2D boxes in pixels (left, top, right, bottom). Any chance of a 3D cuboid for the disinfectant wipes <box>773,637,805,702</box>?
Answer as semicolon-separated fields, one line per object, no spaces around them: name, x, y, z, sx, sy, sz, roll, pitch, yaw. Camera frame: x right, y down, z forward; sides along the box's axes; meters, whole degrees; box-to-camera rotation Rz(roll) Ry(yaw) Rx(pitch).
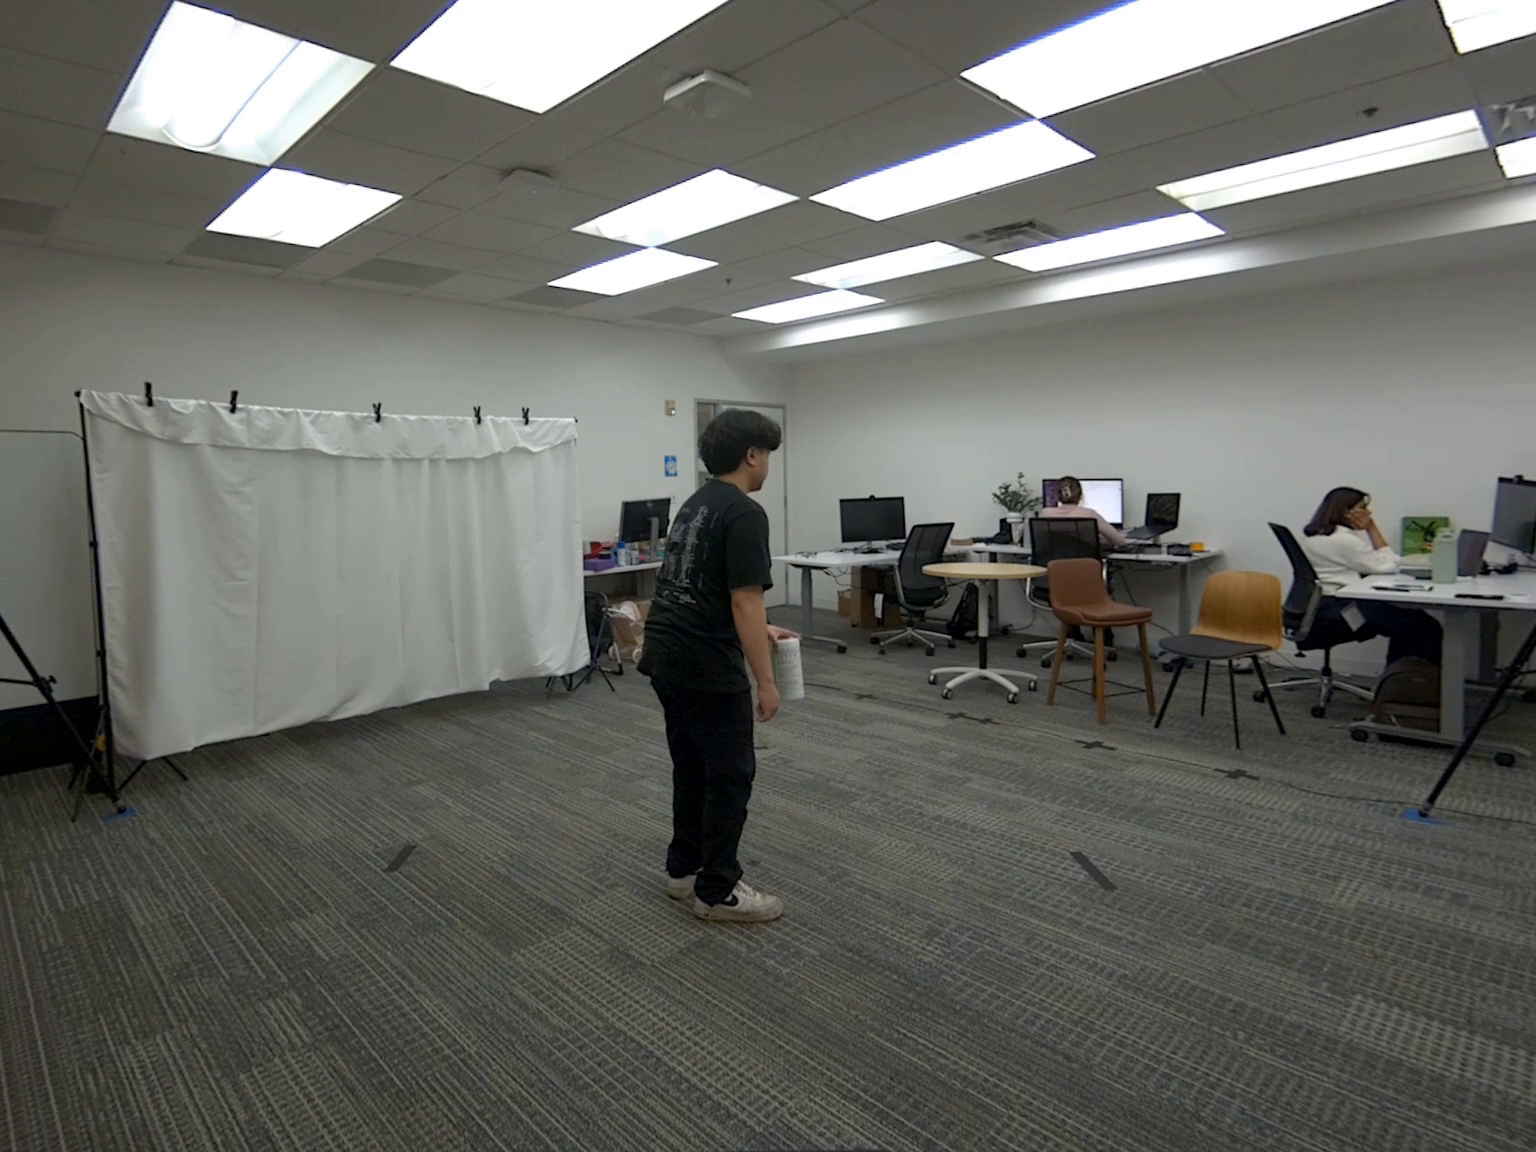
disinfectant wipes;0.070;0.338;3.078;0.118;0.218;0.118;-5;-1;-2
